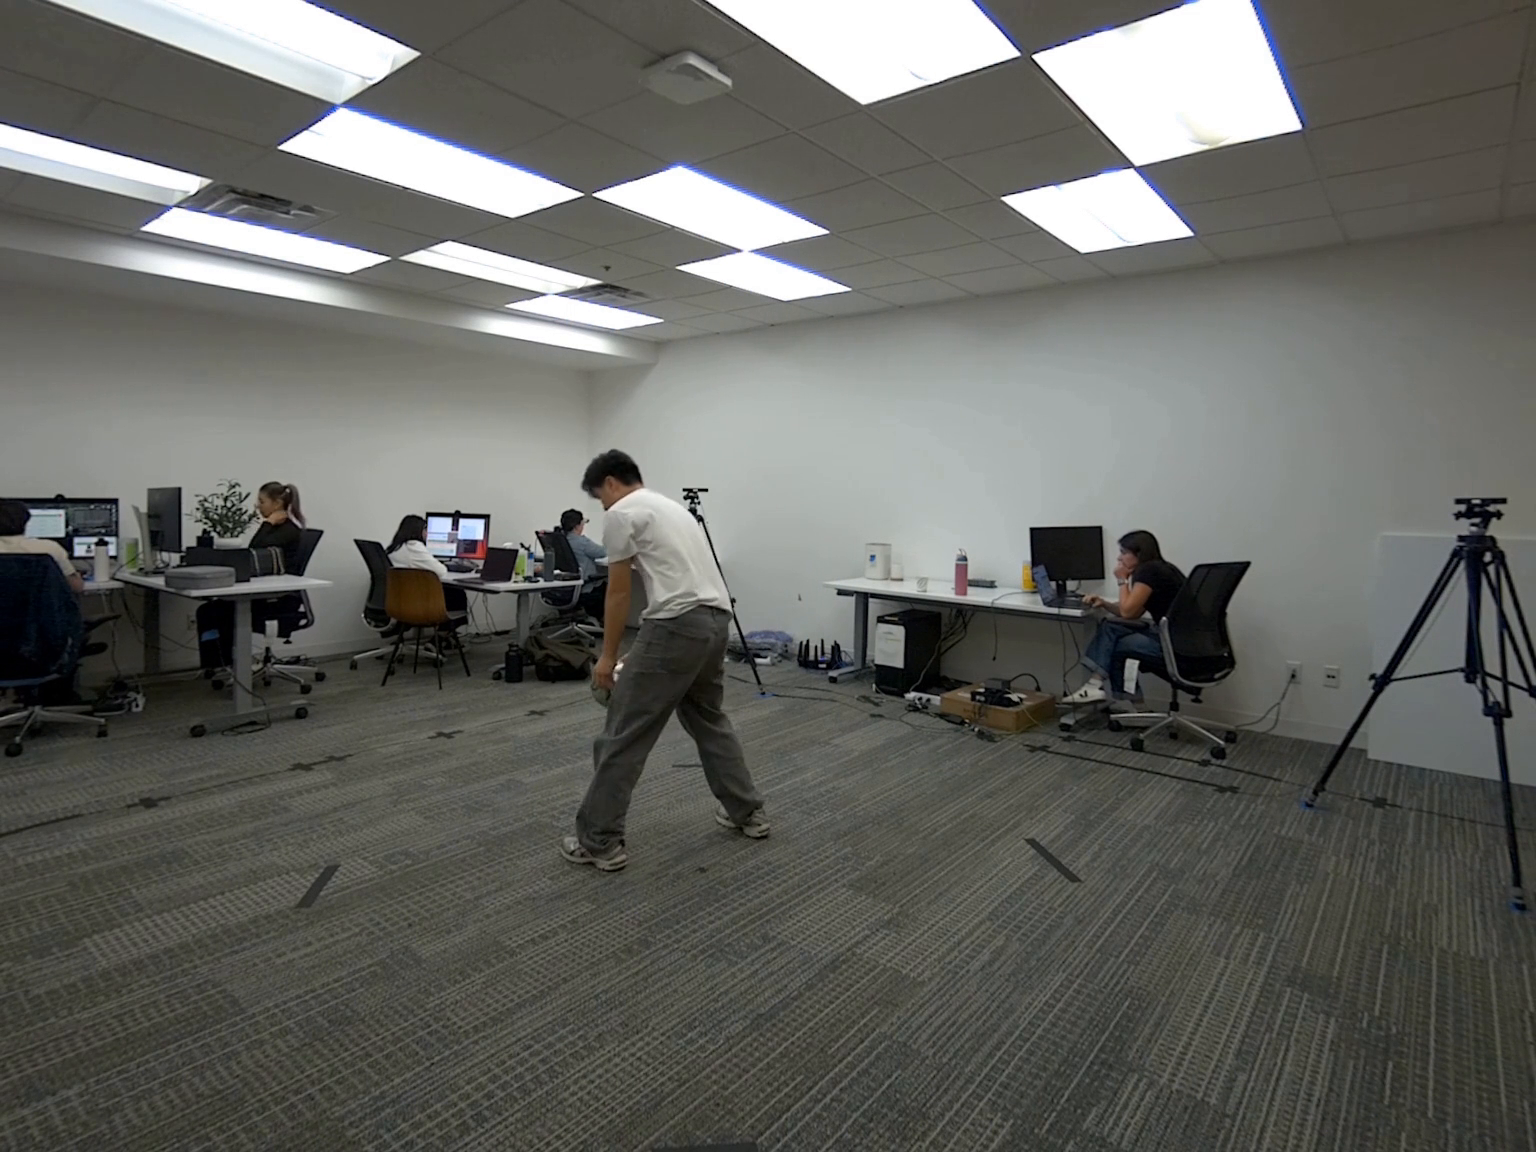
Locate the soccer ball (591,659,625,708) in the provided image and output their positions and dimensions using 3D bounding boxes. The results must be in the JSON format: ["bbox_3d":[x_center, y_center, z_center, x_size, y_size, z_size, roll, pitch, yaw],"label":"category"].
[{"bbox_3d":[-0.598,0.430,3.405,0.187,0.187,0.188,1,4,-2],"label":"soccer ball"}]
